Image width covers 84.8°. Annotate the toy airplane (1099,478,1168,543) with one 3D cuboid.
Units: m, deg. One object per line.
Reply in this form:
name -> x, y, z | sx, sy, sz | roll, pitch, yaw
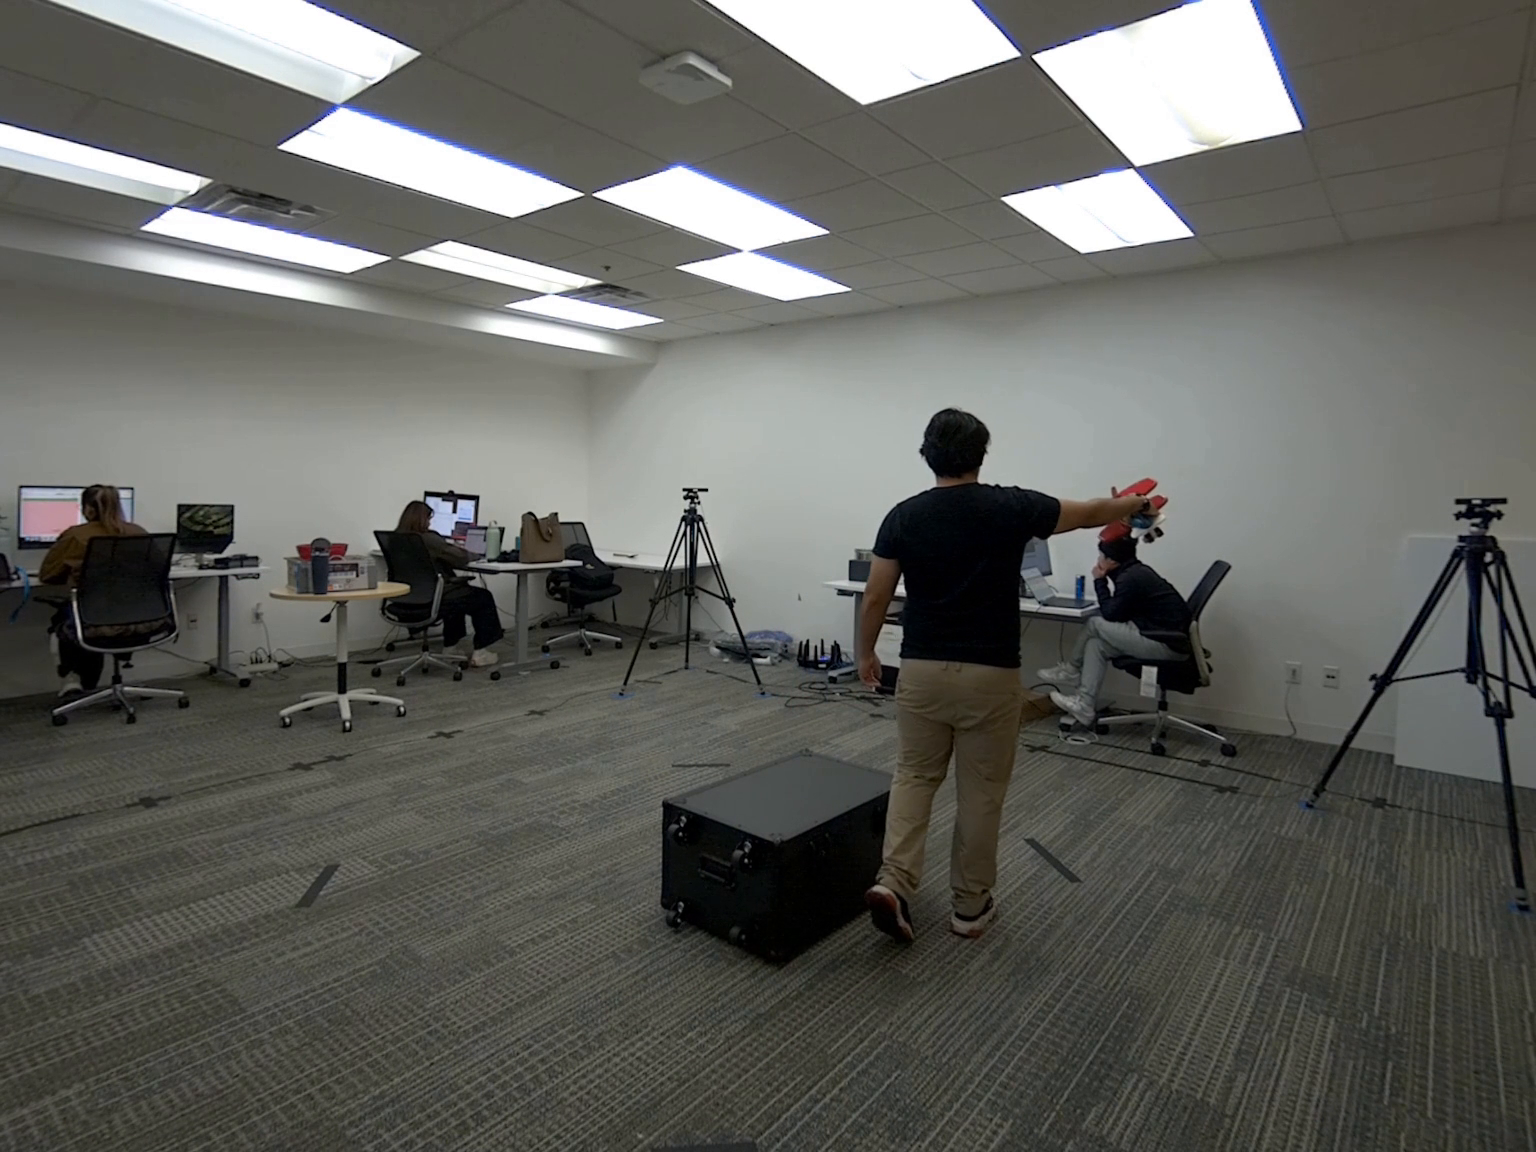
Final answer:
toy airplane -> 1.269, -0.218, 2.921 | 0.250, 0.156, 0.261 | -39, 5, -15
